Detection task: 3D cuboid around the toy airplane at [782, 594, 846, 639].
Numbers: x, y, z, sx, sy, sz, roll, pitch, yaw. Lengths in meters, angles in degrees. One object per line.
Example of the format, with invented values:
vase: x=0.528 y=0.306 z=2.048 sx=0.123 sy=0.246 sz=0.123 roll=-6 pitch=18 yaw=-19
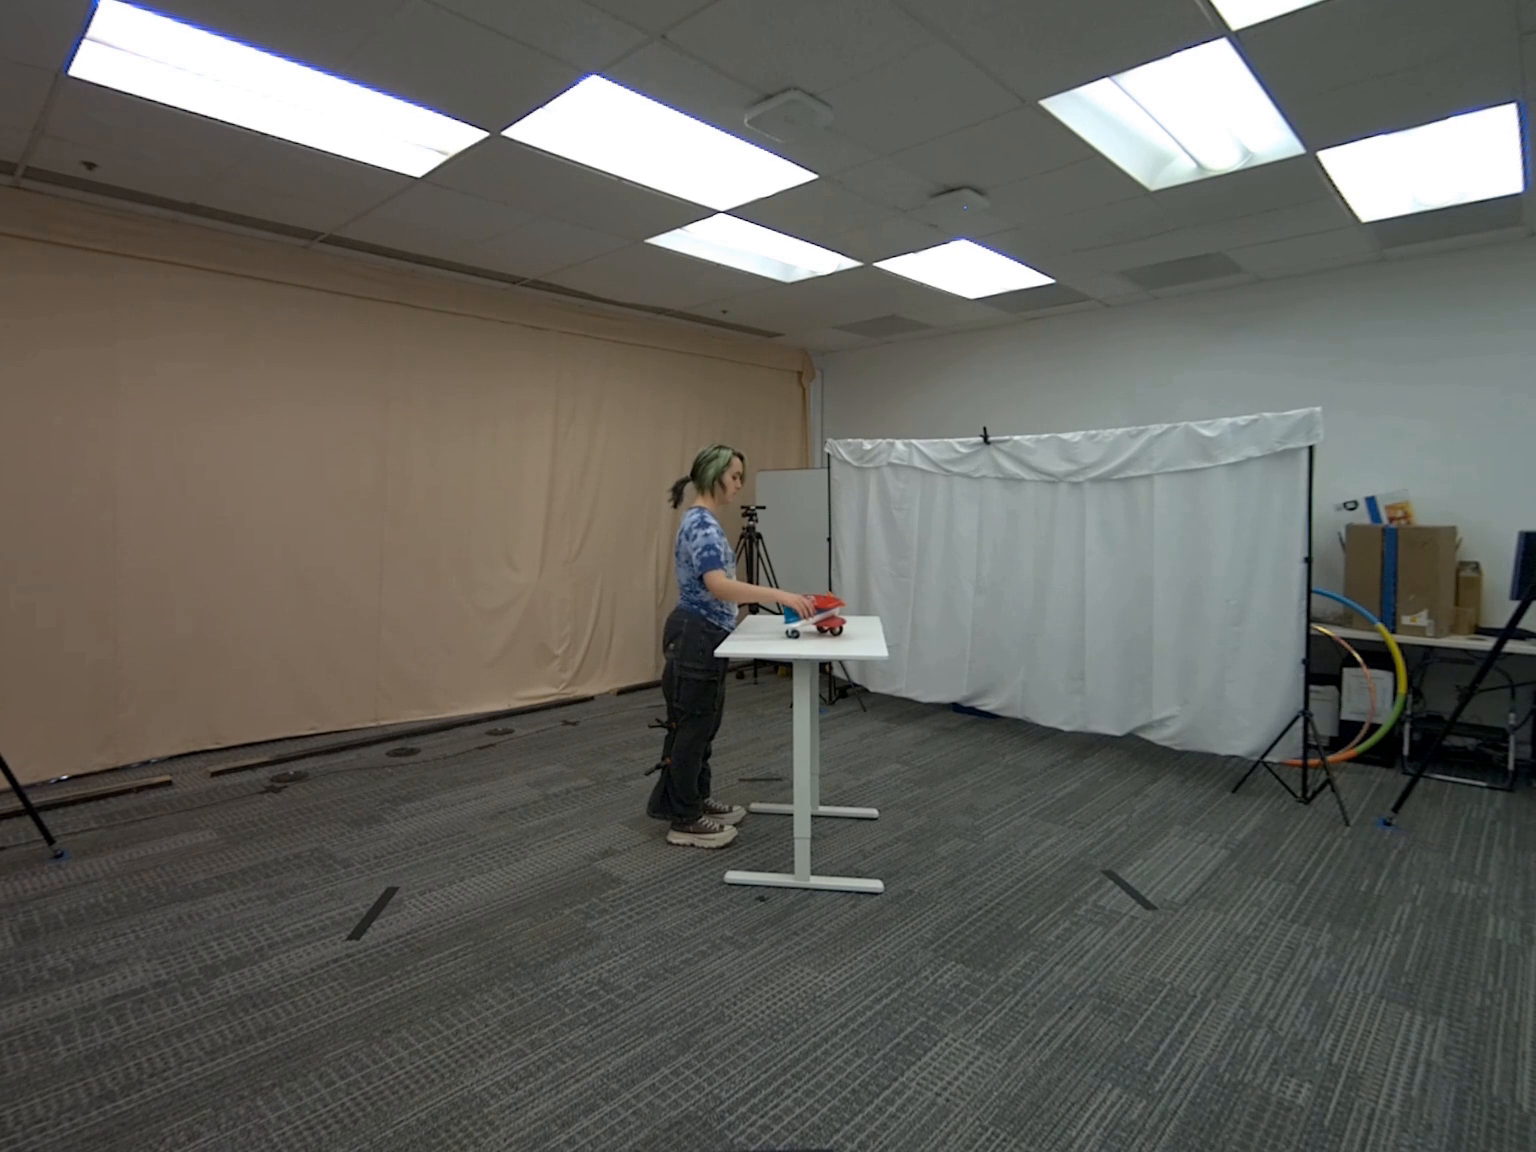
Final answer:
toy airplane: x=0.191 y=0.163 z=3.278 sx=0.258 sy=0.156 sz=0.252 roll=4 pitch=6 yaw=30
